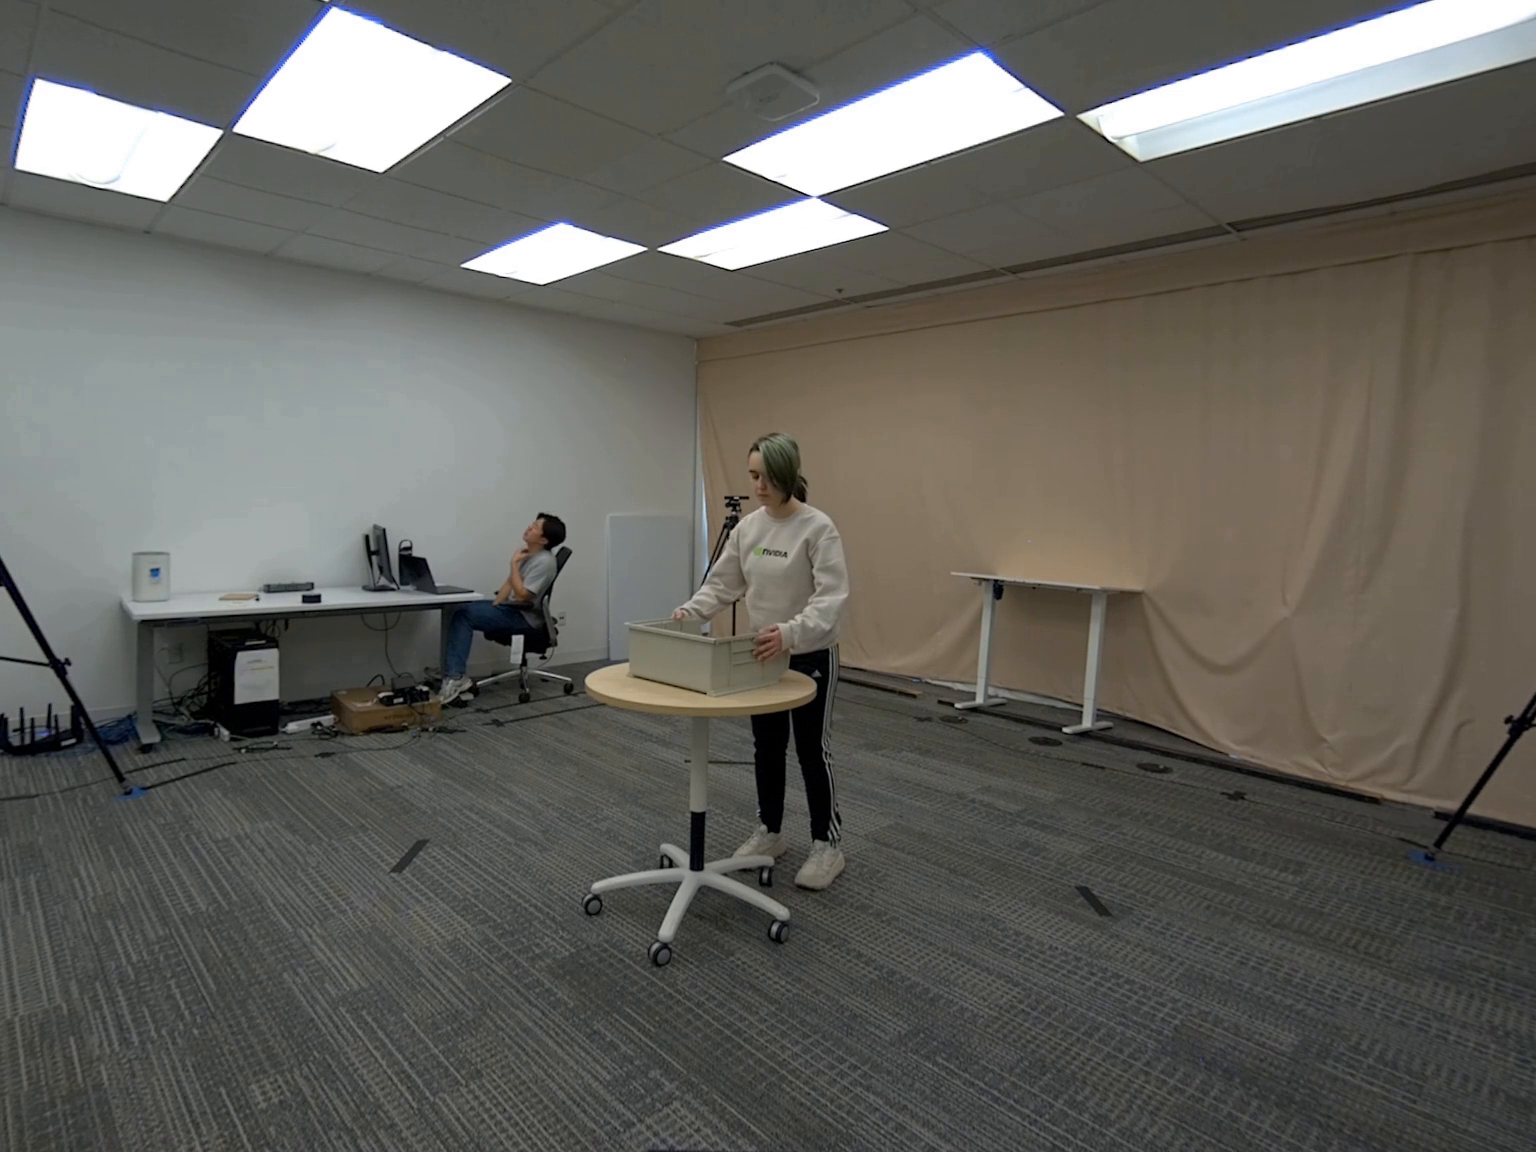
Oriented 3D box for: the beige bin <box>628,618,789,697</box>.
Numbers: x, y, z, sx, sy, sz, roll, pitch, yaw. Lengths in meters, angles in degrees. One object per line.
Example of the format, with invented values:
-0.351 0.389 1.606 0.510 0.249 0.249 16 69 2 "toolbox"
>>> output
-0.207 0.257 2.812 0.433 0.188 0.369 7 8 42 "beige bin"
